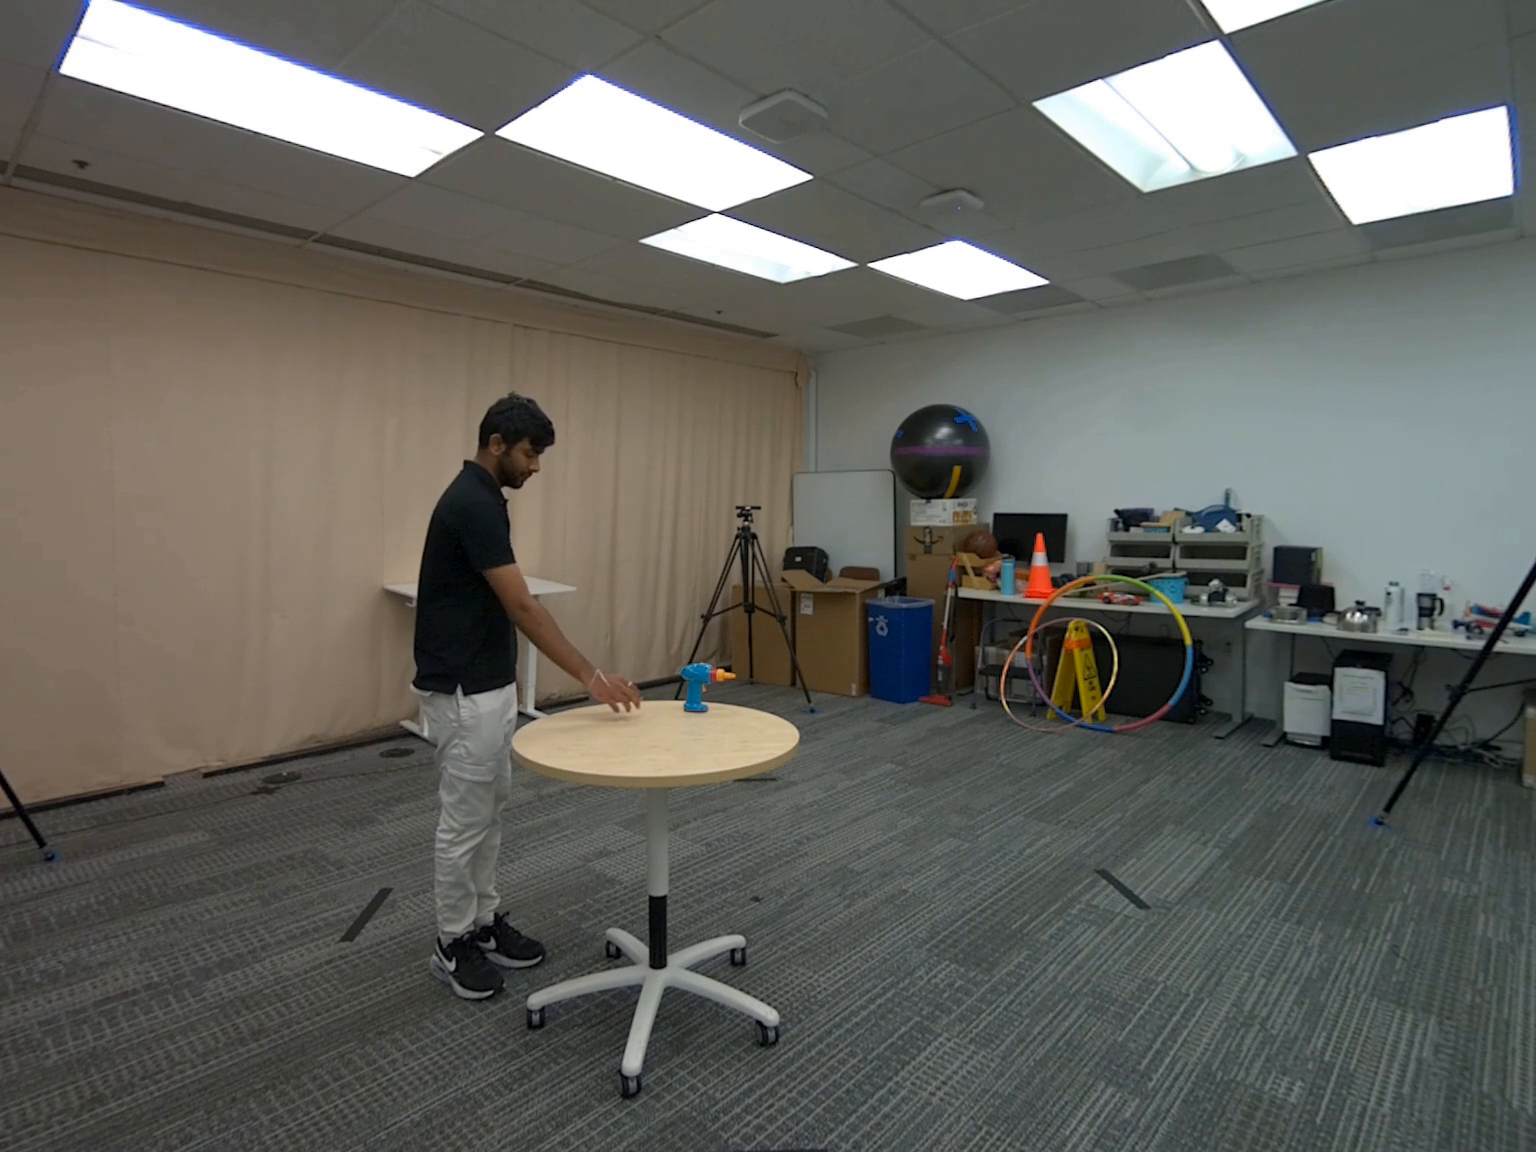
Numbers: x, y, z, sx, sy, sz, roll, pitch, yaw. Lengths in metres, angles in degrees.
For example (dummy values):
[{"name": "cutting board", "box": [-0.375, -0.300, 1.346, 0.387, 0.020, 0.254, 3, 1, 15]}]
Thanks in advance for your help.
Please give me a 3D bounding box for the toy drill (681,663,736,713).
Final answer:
[{"name": "toy drill", "box": [-0.176, 0.335, 2.498, 0.172, 0.146, 0.060, 1, 4, 11]}]
